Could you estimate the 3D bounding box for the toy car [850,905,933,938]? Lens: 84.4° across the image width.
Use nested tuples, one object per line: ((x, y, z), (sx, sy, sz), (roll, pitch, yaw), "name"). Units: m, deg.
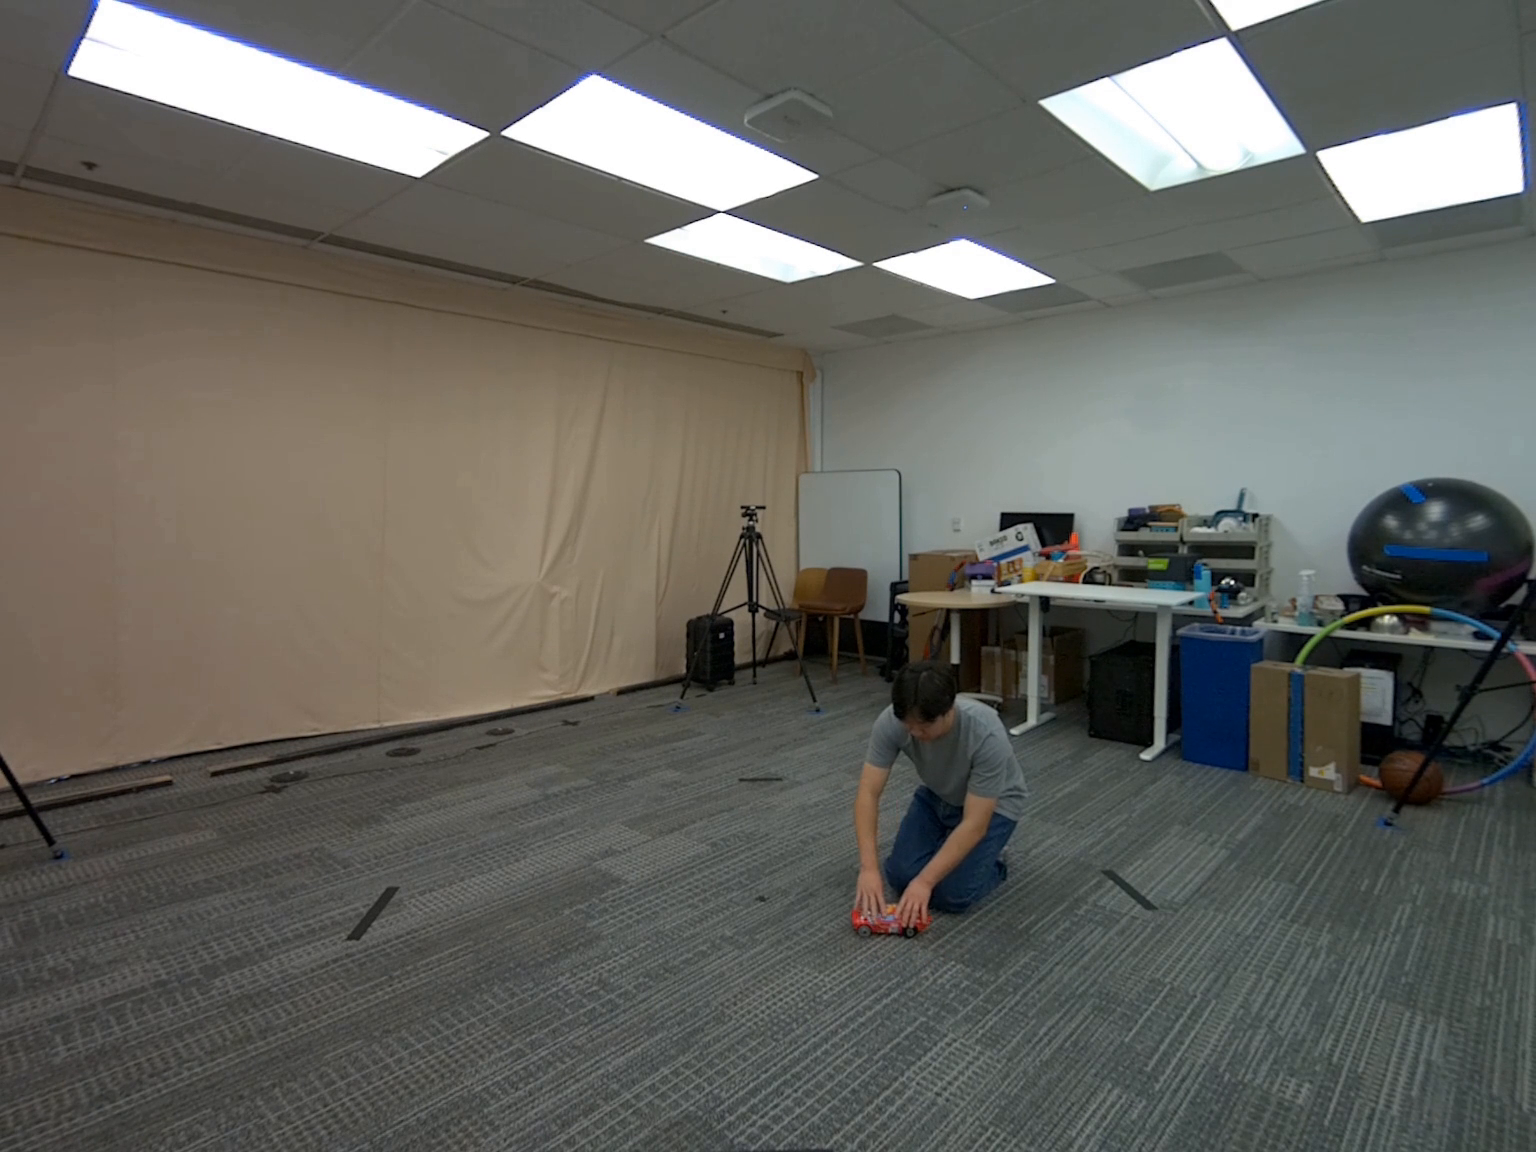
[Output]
((0.409, 1.132, 2.757), (0.256, 0.083, 0.130), (-12, 4, 8), "toy car")
